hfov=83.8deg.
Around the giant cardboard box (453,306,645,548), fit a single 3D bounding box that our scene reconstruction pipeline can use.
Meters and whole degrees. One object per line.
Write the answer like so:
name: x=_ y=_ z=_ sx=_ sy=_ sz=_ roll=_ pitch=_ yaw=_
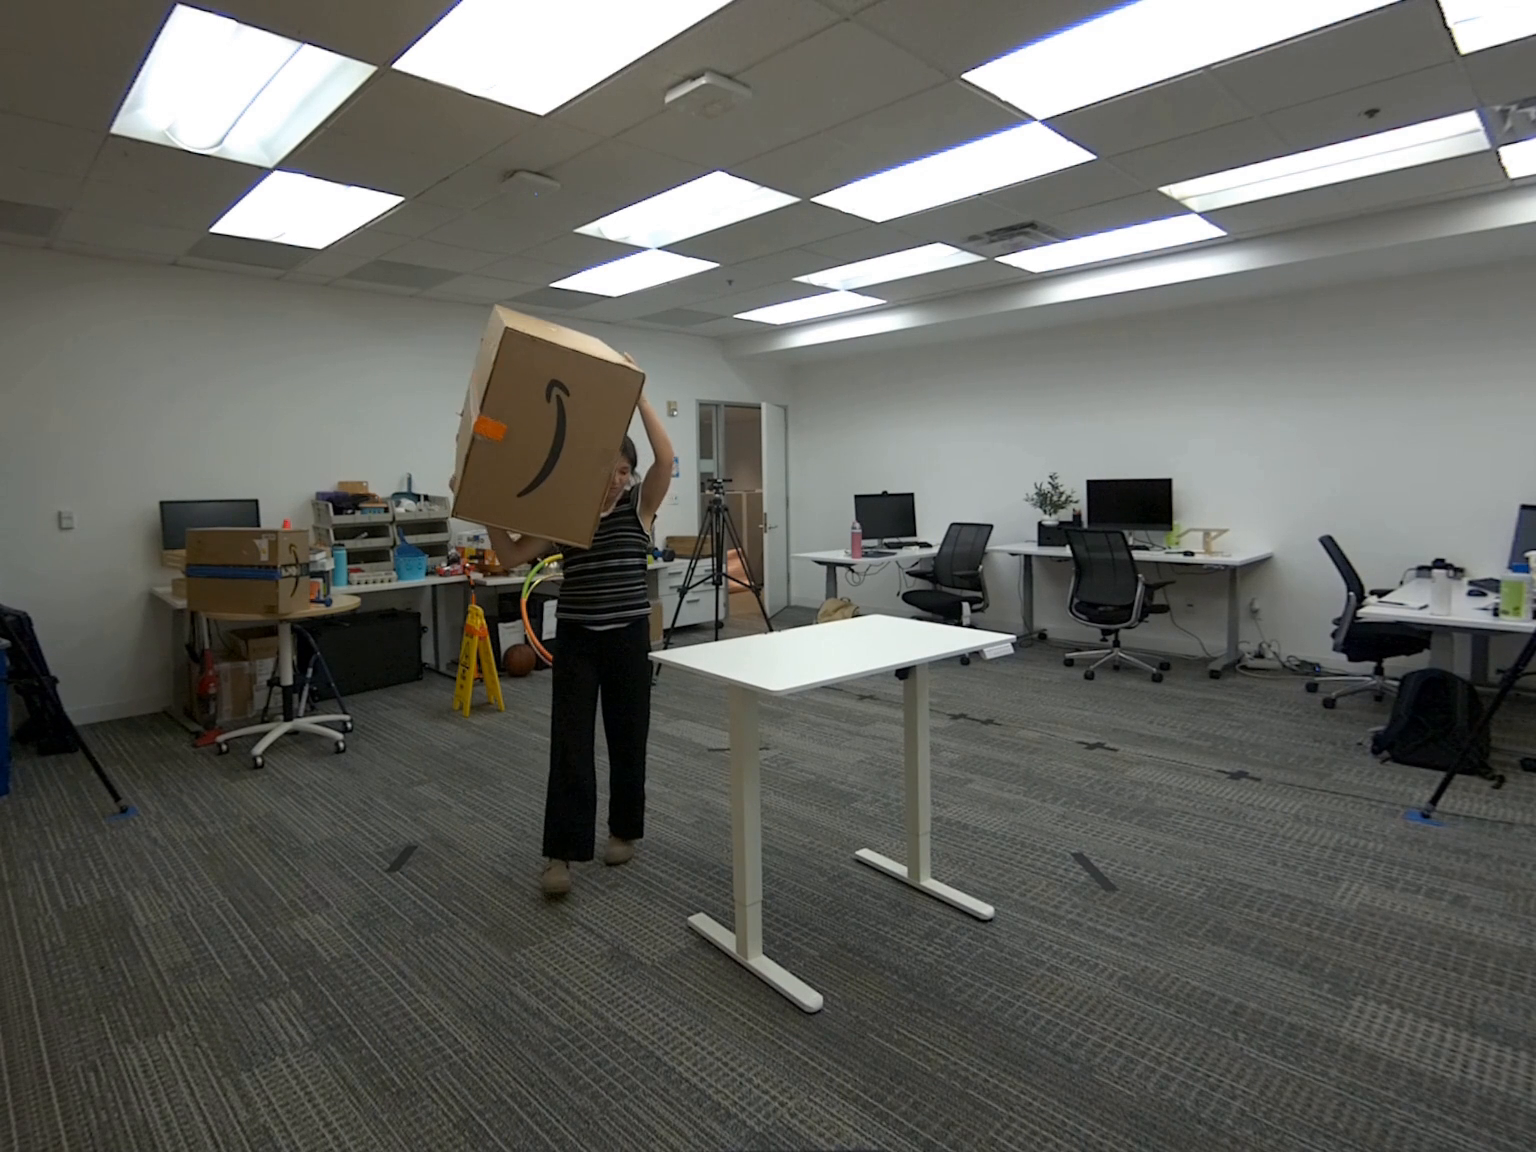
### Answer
giant cardboard box: x=-0.807 y=-0.561 z=2.967 sx=0.416 sy=0.574 sz=1.058 roll=15 pitch=14 yaw=-23
